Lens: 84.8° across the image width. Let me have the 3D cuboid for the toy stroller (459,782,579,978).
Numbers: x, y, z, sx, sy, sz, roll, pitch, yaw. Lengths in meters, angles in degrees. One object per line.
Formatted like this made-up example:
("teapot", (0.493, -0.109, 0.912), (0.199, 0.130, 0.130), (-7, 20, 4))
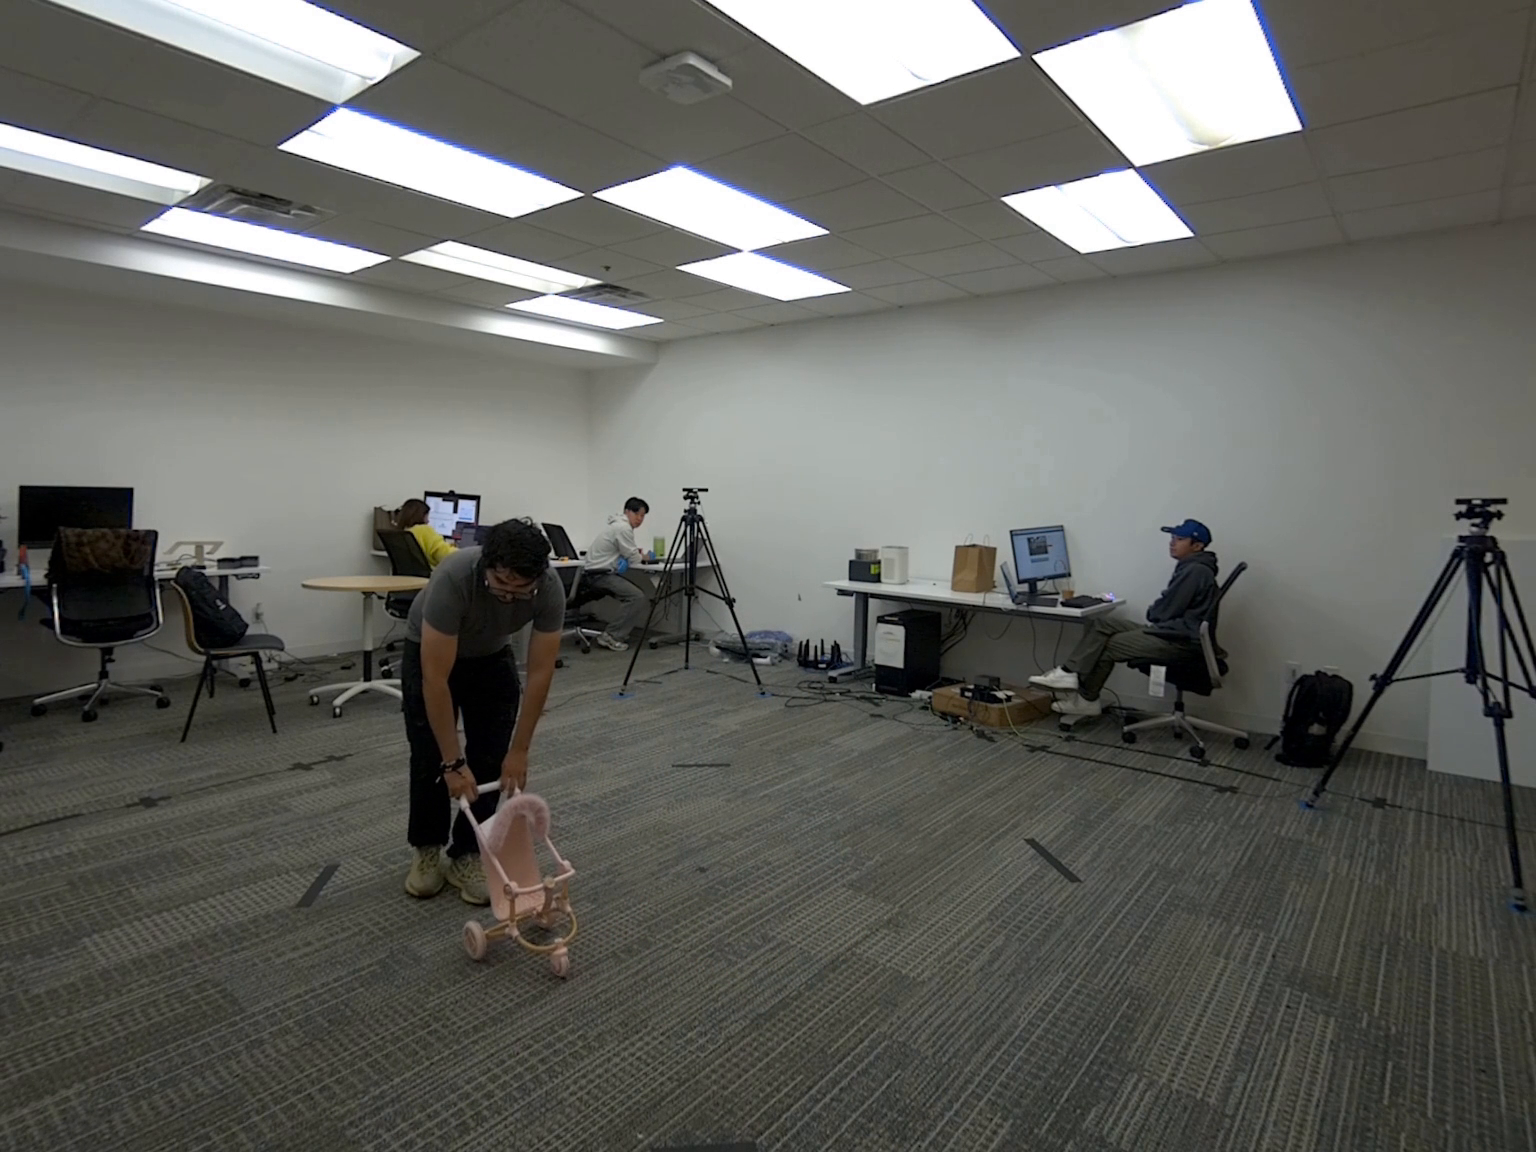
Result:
("toy stroller", (-0.737, 0.890, 2.529), (0.349, 0.539, 0.273), (-15, -8, 44))
